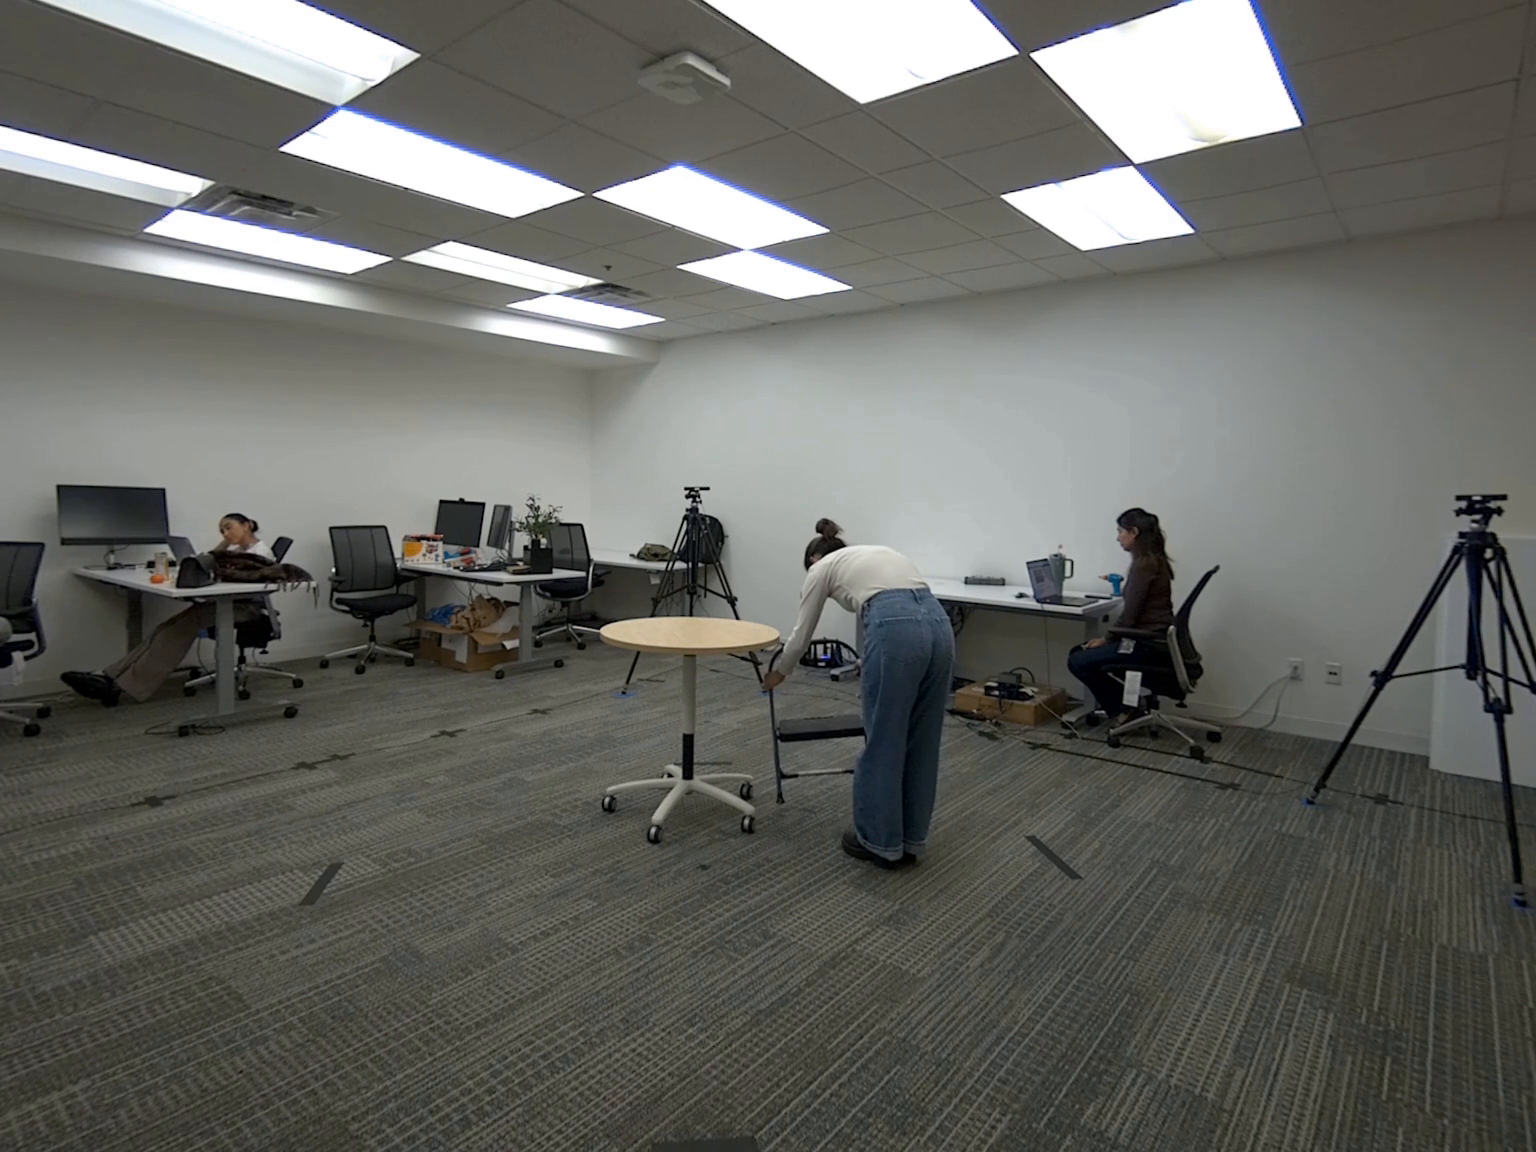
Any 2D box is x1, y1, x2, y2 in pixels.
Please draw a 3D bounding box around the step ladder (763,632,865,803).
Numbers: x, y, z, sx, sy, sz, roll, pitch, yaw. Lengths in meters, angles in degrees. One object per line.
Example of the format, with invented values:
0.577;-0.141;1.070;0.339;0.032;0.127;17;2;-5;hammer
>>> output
0.220;0.580;3.559;0.432;0.605;0.349;-5;2;2;step ladder
